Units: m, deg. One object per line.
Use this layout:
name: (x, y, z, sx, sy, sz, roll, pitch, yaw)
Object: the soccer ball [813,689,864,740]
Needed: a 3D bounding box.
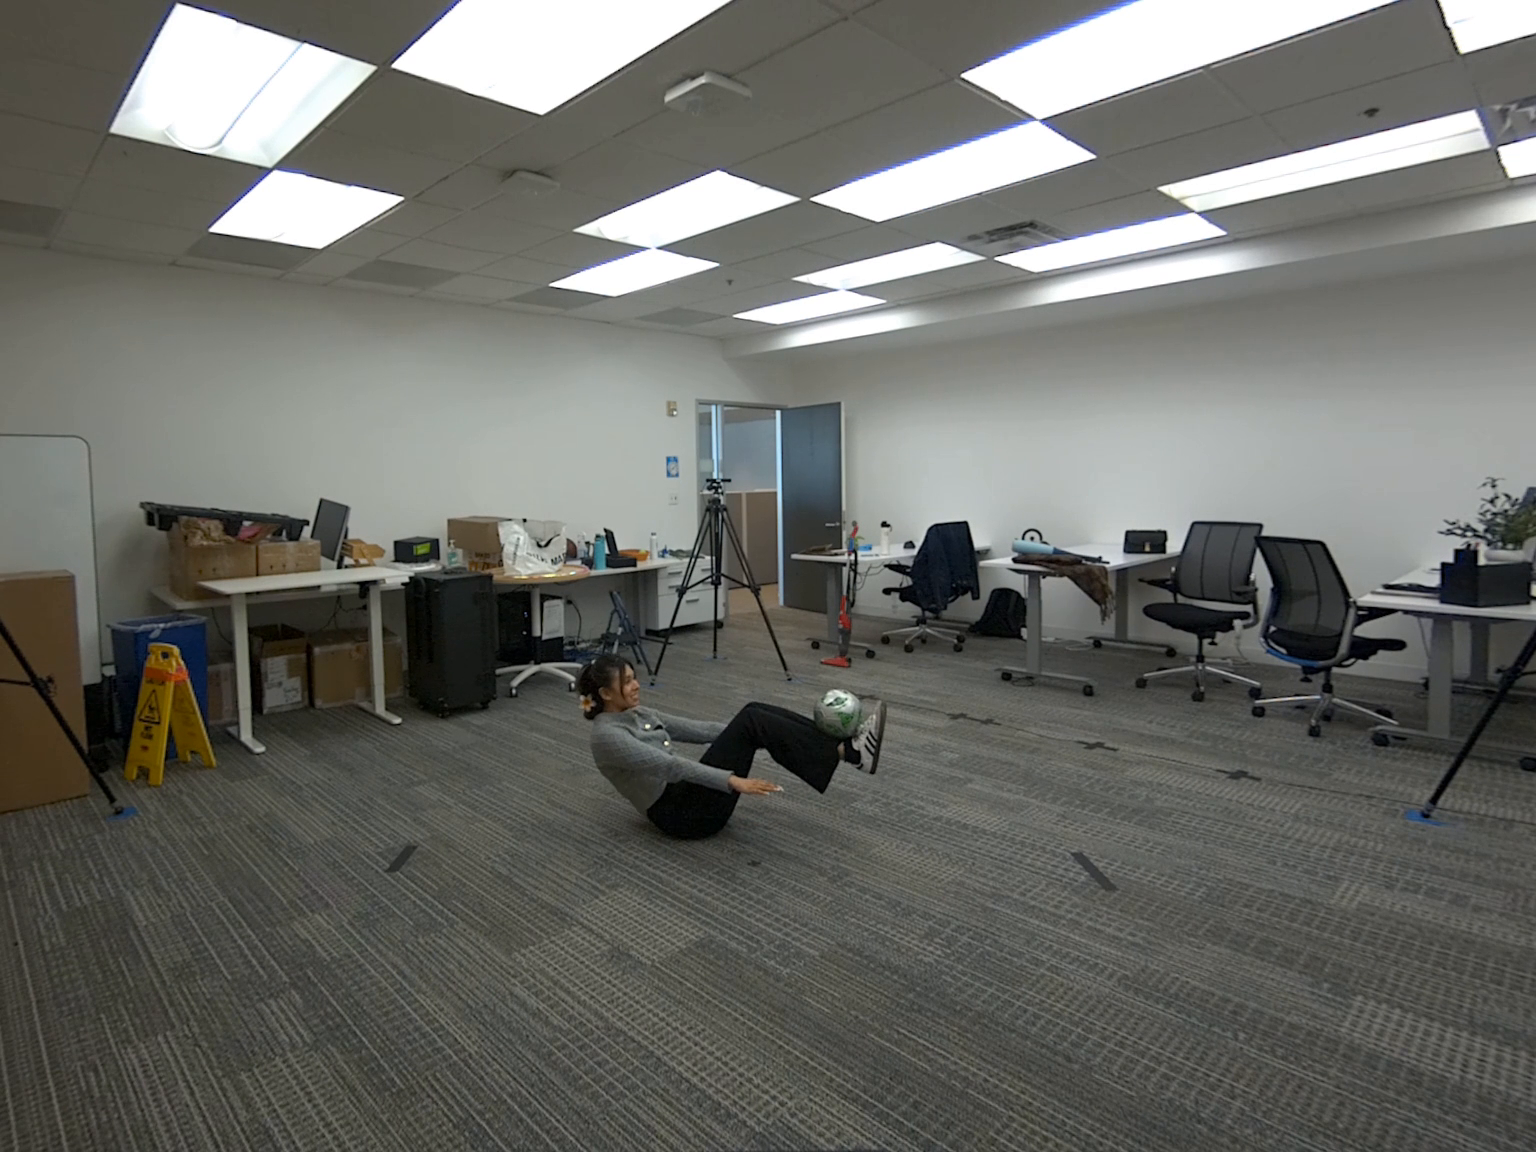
soccer ball: (0.270, 0.528, 3.264, 0.187, 0.187, 0.188, -1, 5, -2)
